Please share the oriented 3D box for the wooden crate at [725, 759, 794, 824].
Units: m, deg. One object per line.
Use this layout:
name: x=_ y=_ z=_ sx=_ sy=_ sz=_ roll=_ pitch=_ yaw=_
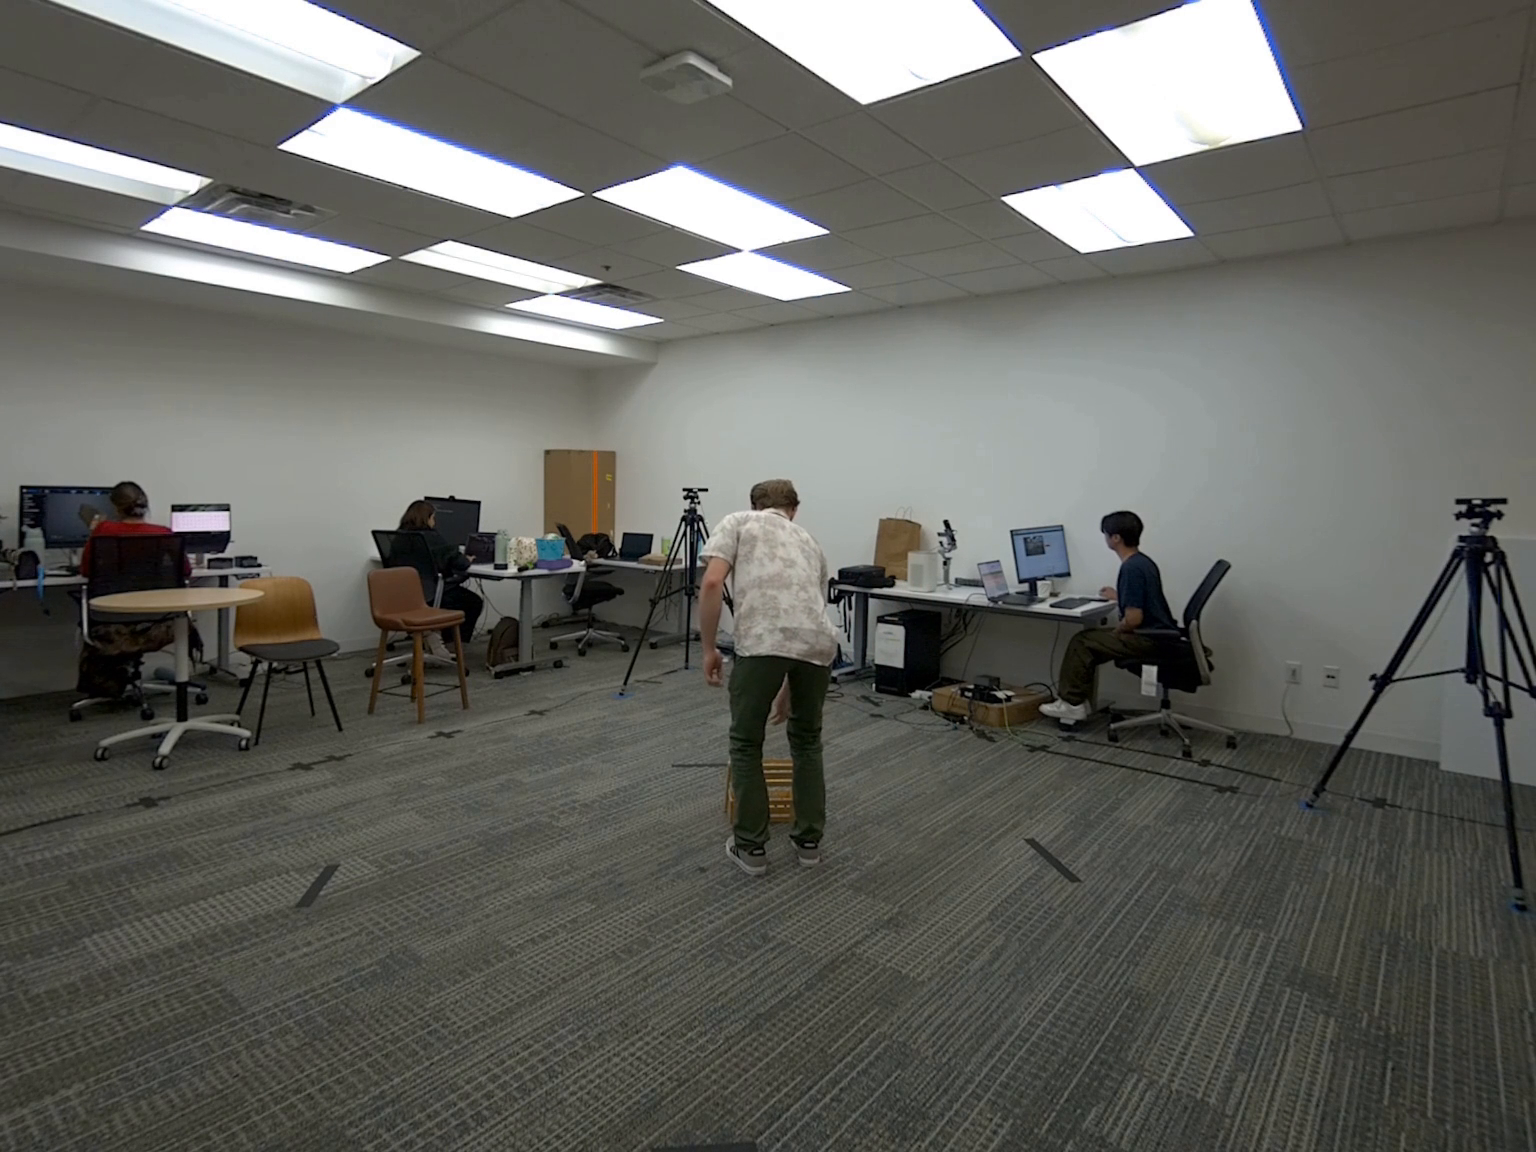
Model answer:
wooden crate: x=-0.025 y=0.884 z=3.655 sx=0.322 sy=0.272 sz=0.305 roll=1 pitch=5 yaw=-7
